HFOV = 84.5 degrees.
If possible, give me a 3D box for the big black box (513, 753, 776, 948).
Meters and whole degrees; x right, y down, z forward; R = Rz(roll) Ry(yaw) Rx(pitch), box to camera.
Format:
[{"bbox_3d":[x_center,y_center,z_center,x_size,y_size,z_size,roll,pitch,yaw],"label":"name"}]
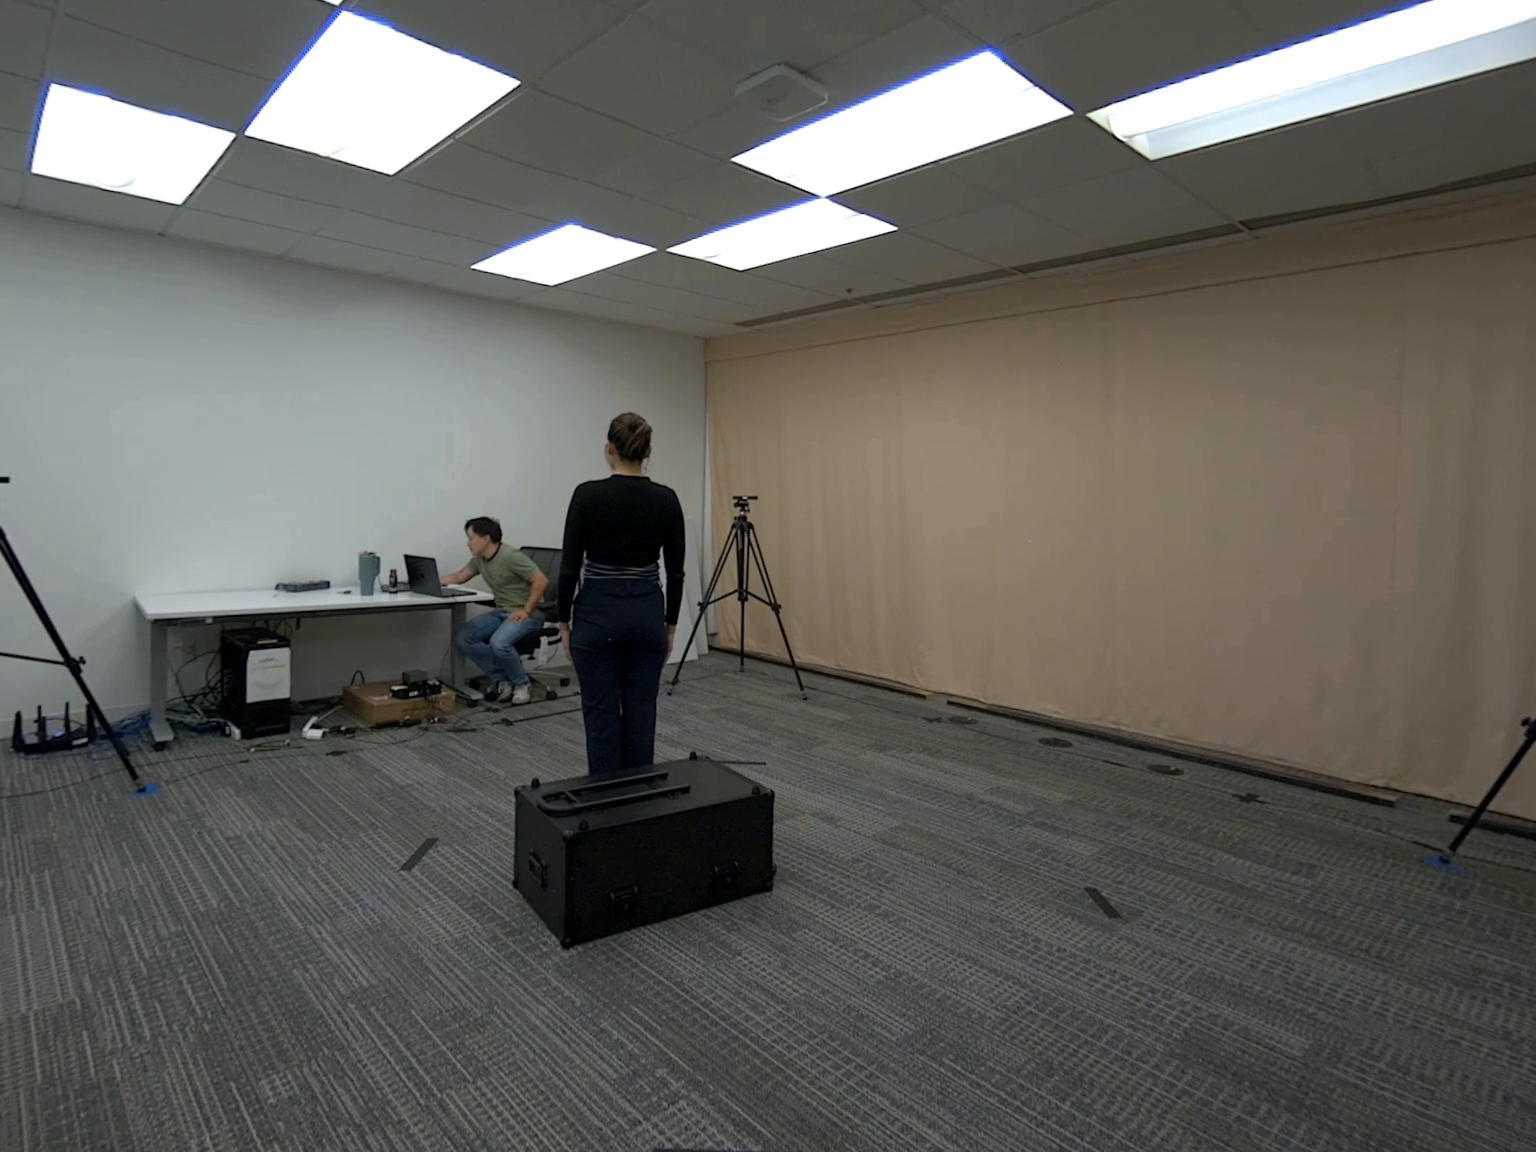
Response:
[{"bbox_3d":[-0.465,0.935,2.950,0.843,0.395,0.534,-2,5,-34],"label":"big black box"}]
